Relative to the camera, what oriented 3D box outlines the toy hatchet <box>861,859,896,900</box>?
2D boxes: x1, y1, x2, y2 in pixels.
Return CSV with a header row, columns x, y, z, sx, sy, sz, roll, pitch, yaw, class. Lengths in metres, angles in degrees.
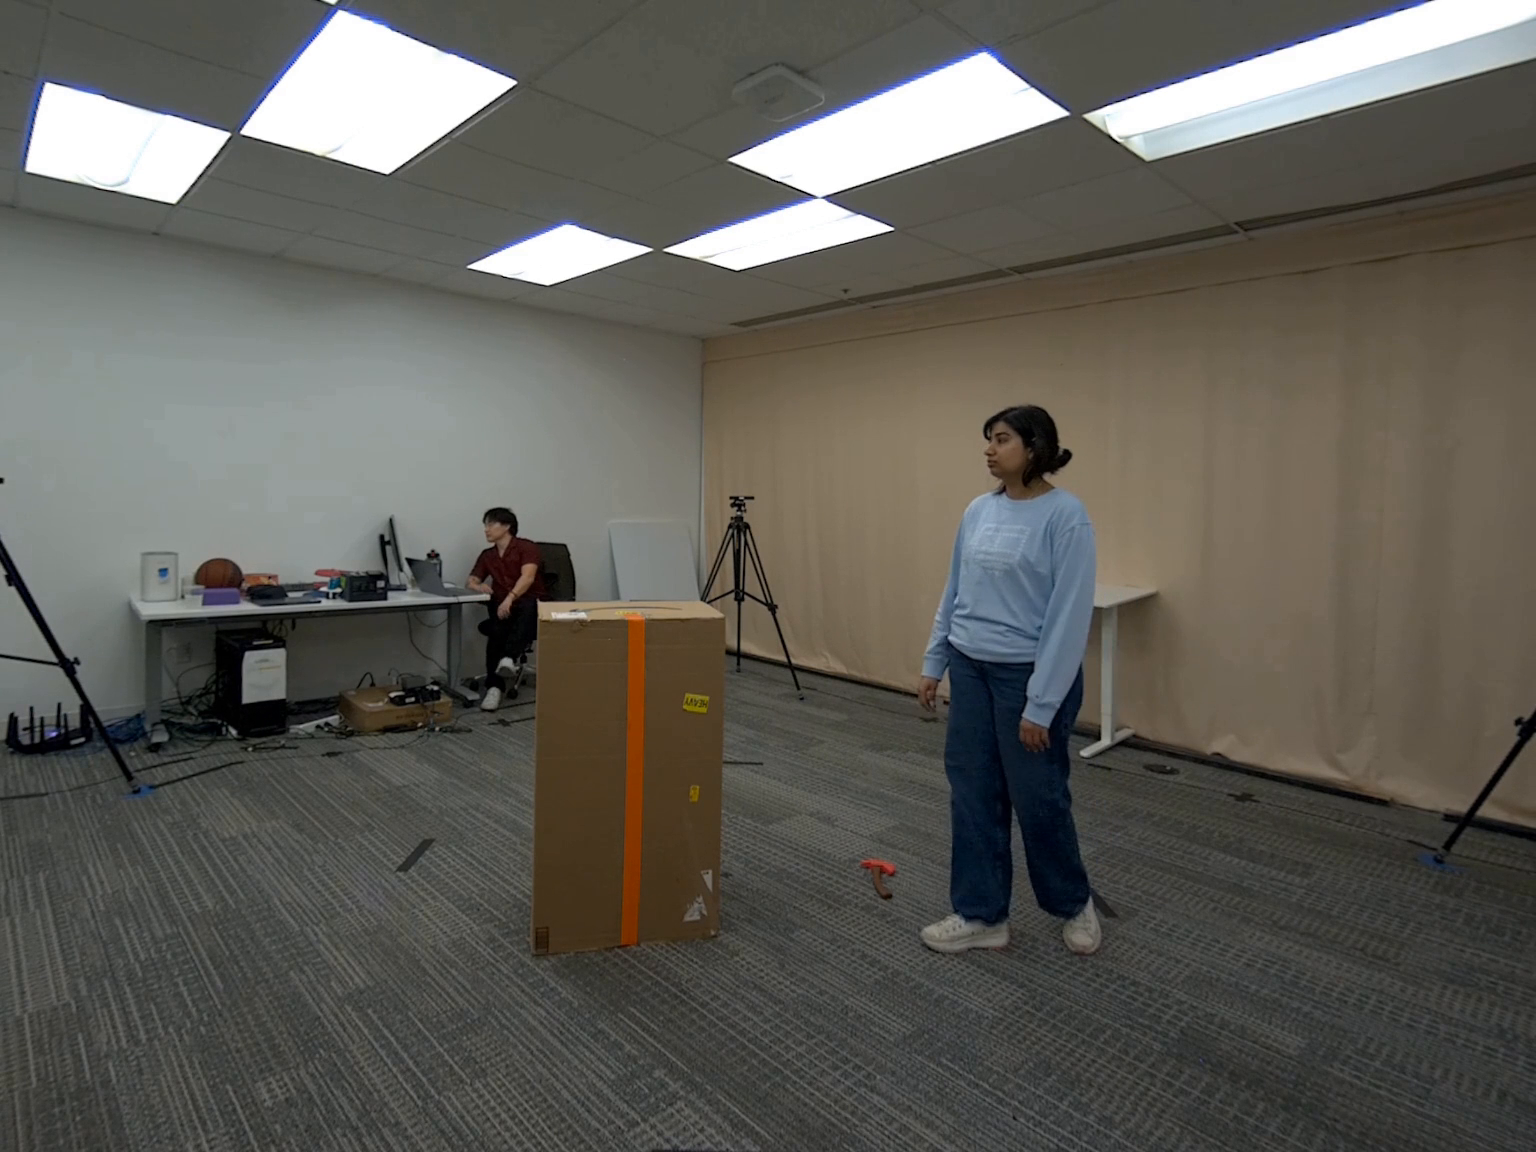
x,y,z,sx,sy,sz,roll,pitch,yaw,class
0.430,1.110,3.081,0.130,0.029,0.273,2,7,-11,toy hatchet
